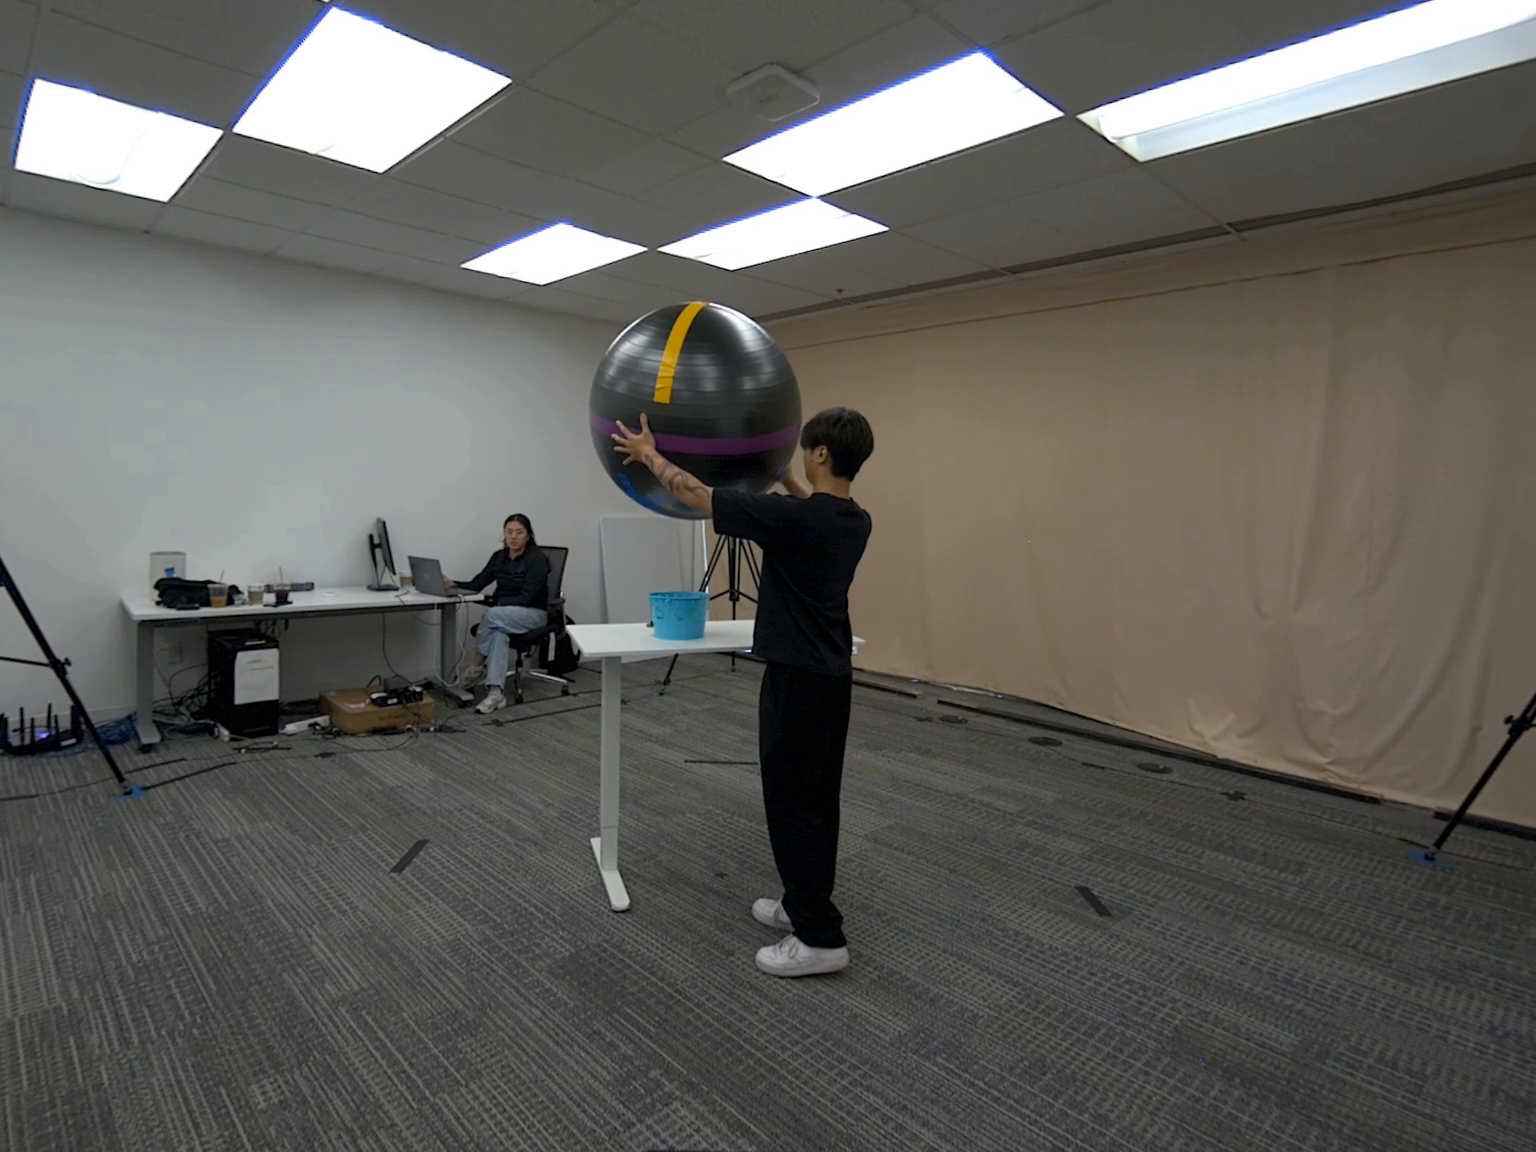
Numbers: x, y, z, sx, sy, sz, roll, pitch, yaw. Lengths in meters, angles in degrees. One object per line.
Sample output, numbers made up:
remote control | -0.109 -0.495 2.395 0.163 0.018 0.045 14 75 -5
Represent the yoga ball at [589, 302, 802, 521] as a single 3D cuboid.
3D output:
yoga ball | -0.266 -0.575 3.011 0.757 0.756 0.761 1 4 -1
